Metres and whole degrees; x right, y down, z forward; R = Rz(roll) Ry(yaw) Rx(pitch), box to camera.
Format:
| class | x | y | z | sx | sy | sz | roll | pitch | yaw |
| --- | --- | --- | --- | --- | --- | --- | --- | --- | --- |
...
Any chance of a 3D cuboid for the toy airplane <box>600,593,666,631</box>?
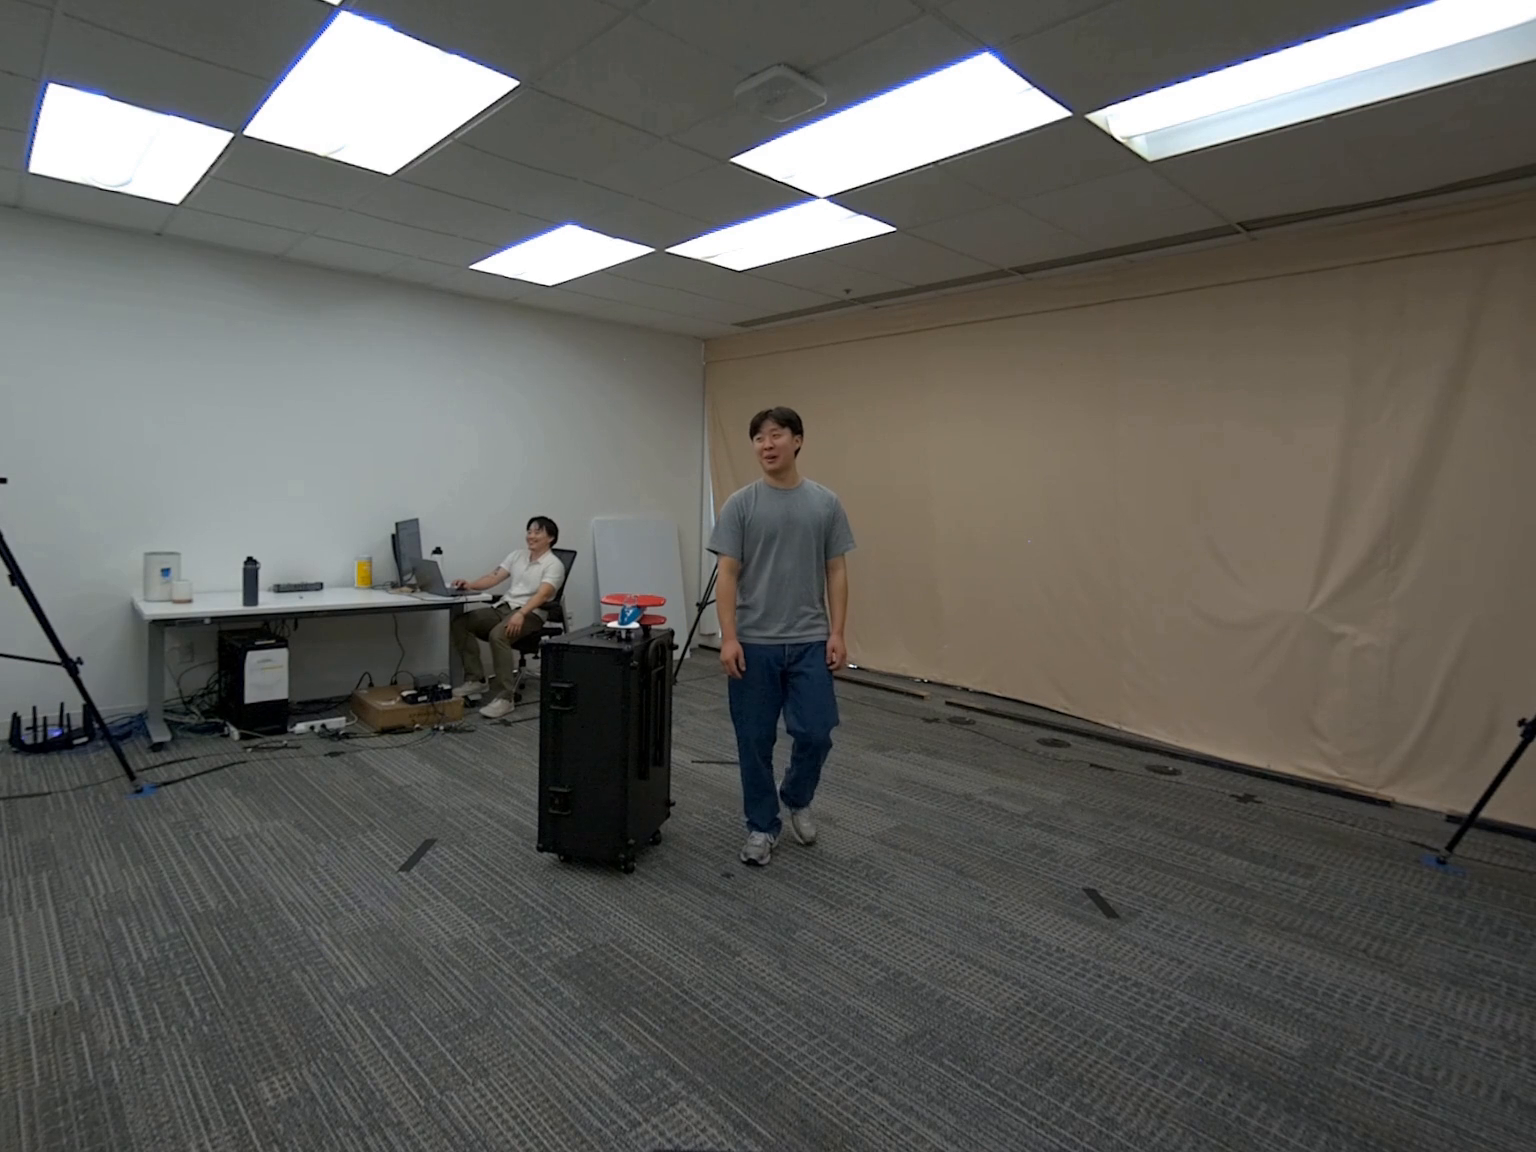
| class | x | y | z | sx | sy | sz | roll | pitch | yaw |
| --- | --- | --- | --- | --- | --- | --- | --- | --- | --- |
| toy airplane | -0.516 | 0.154 | 3.250 | 0.247 | 0.156 | 0.264 | 0 | 3 | -21 |
